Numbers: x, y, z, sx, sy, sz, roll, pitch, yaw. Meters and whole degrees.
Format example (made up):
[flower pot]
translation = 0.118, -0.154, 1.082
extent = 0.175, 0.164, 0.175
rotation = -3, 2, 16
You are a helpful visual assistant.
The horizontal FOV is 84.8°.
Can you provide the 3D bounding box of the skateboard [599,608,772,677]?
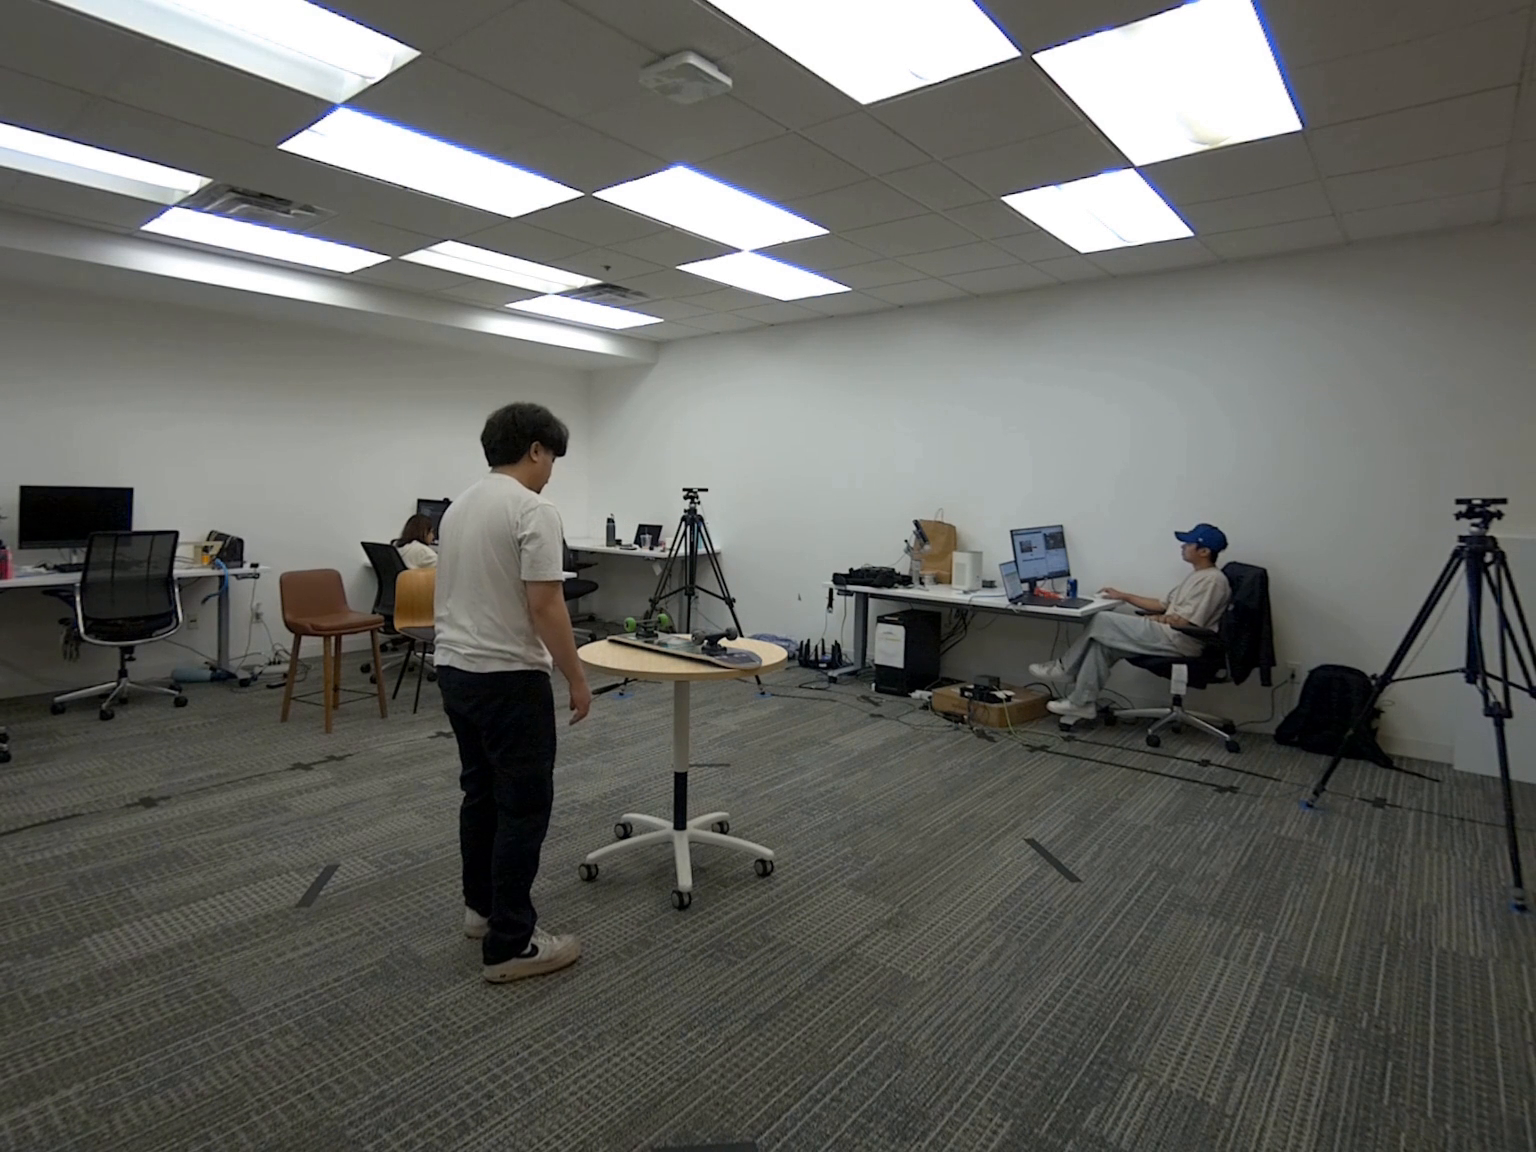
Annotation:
[skateboard]
translation = -0.328, 0.229, 3.095
extent = 0.188, 0.110, 0.813
rotation = -6, 9, -41
